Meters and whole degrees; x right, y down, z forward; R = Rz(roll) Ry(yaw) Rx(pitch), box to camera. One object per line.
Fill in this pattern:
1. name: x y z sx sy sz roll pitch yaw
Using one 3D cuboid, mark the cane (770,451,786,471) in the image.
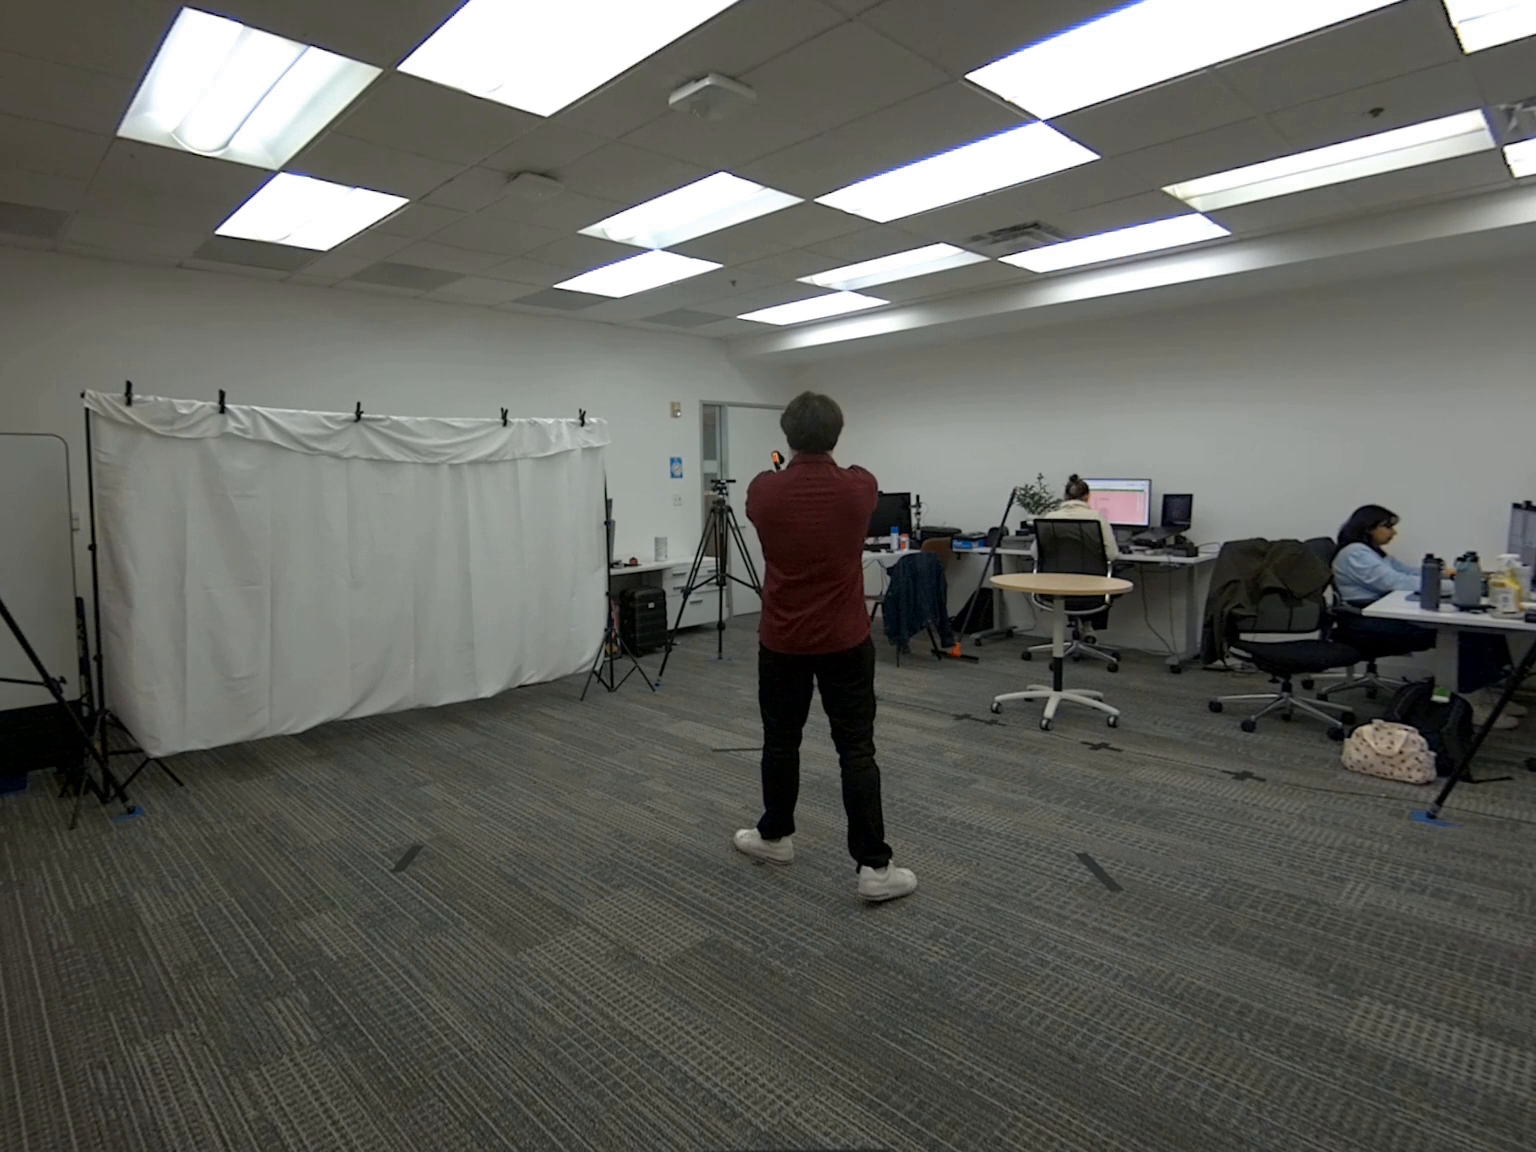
1. cane: 0.142 -0.073 3.430 0.153 0.920 0.202 -15 -13 11
